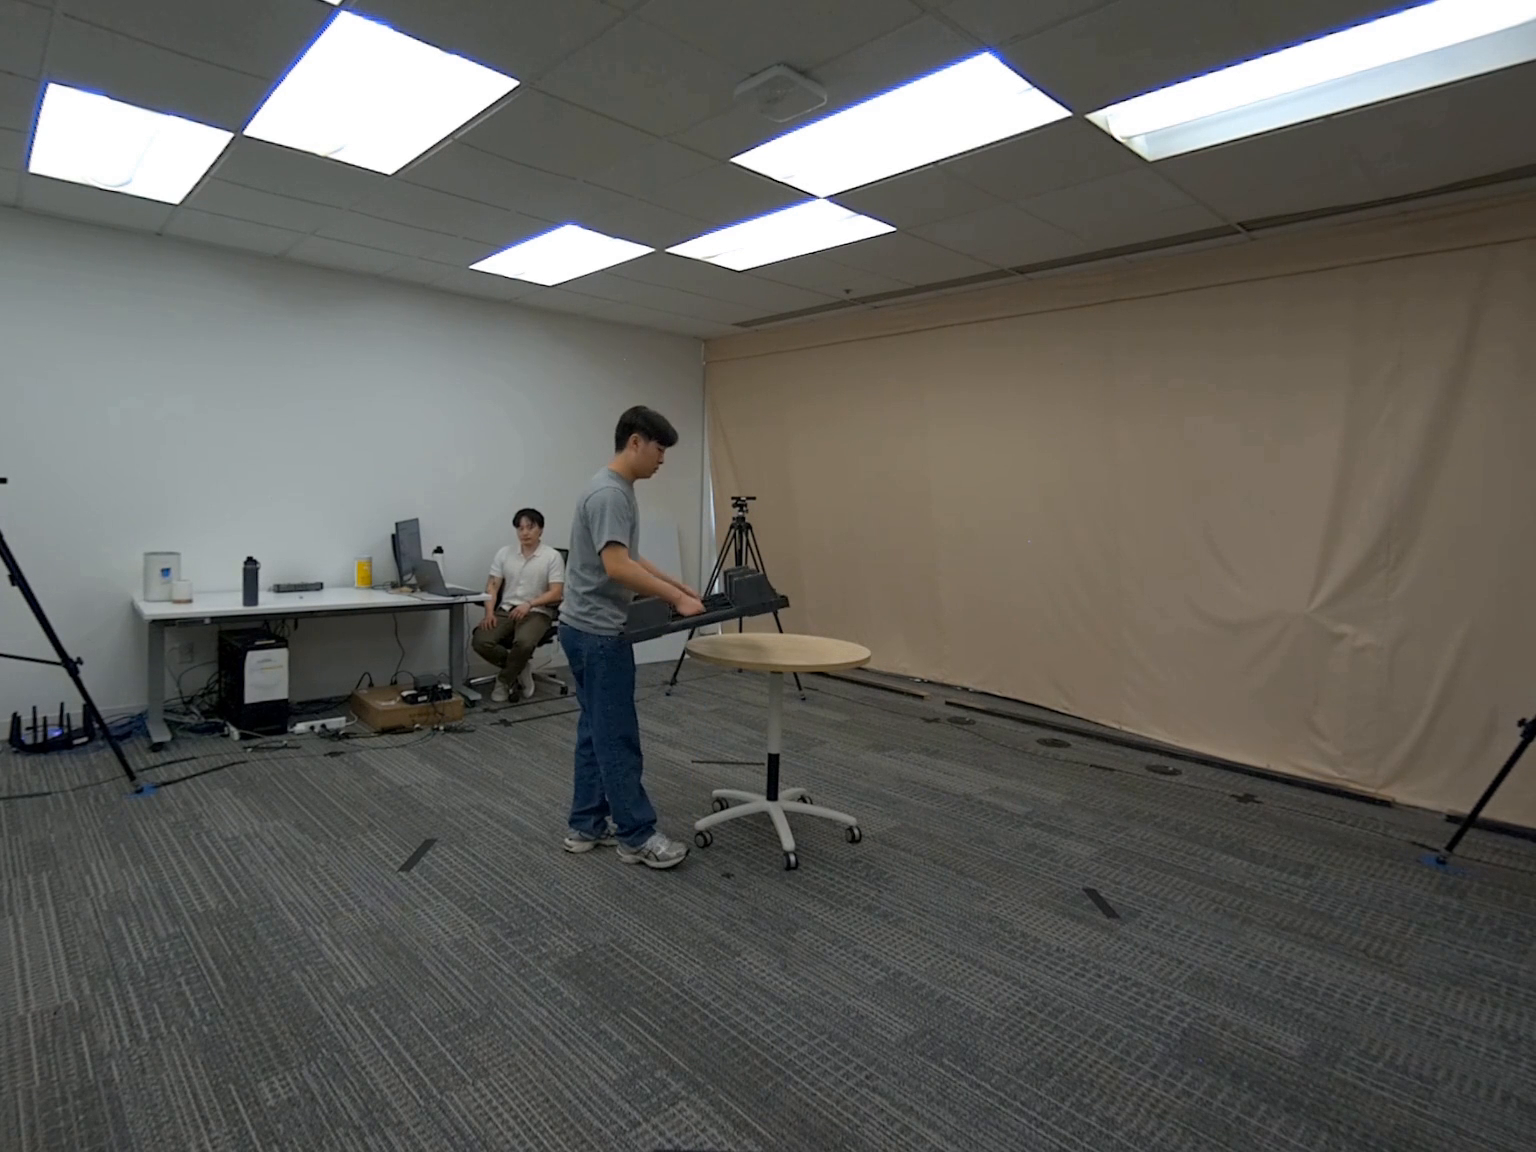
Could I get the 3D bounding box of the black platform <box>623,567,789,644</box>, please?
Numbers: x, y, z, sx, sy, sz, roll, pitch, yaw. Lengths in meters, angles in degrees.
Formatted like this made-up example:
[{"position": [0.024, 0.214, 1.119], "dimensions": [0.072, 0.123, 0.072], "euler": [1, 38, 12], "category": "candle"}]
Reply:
[{"position": [-0.280, 0.099, 3.231], "dimensions": [0.603, 0.143, 0.808], "euler": [-13, 2, -5], "category": "black platform"}]
